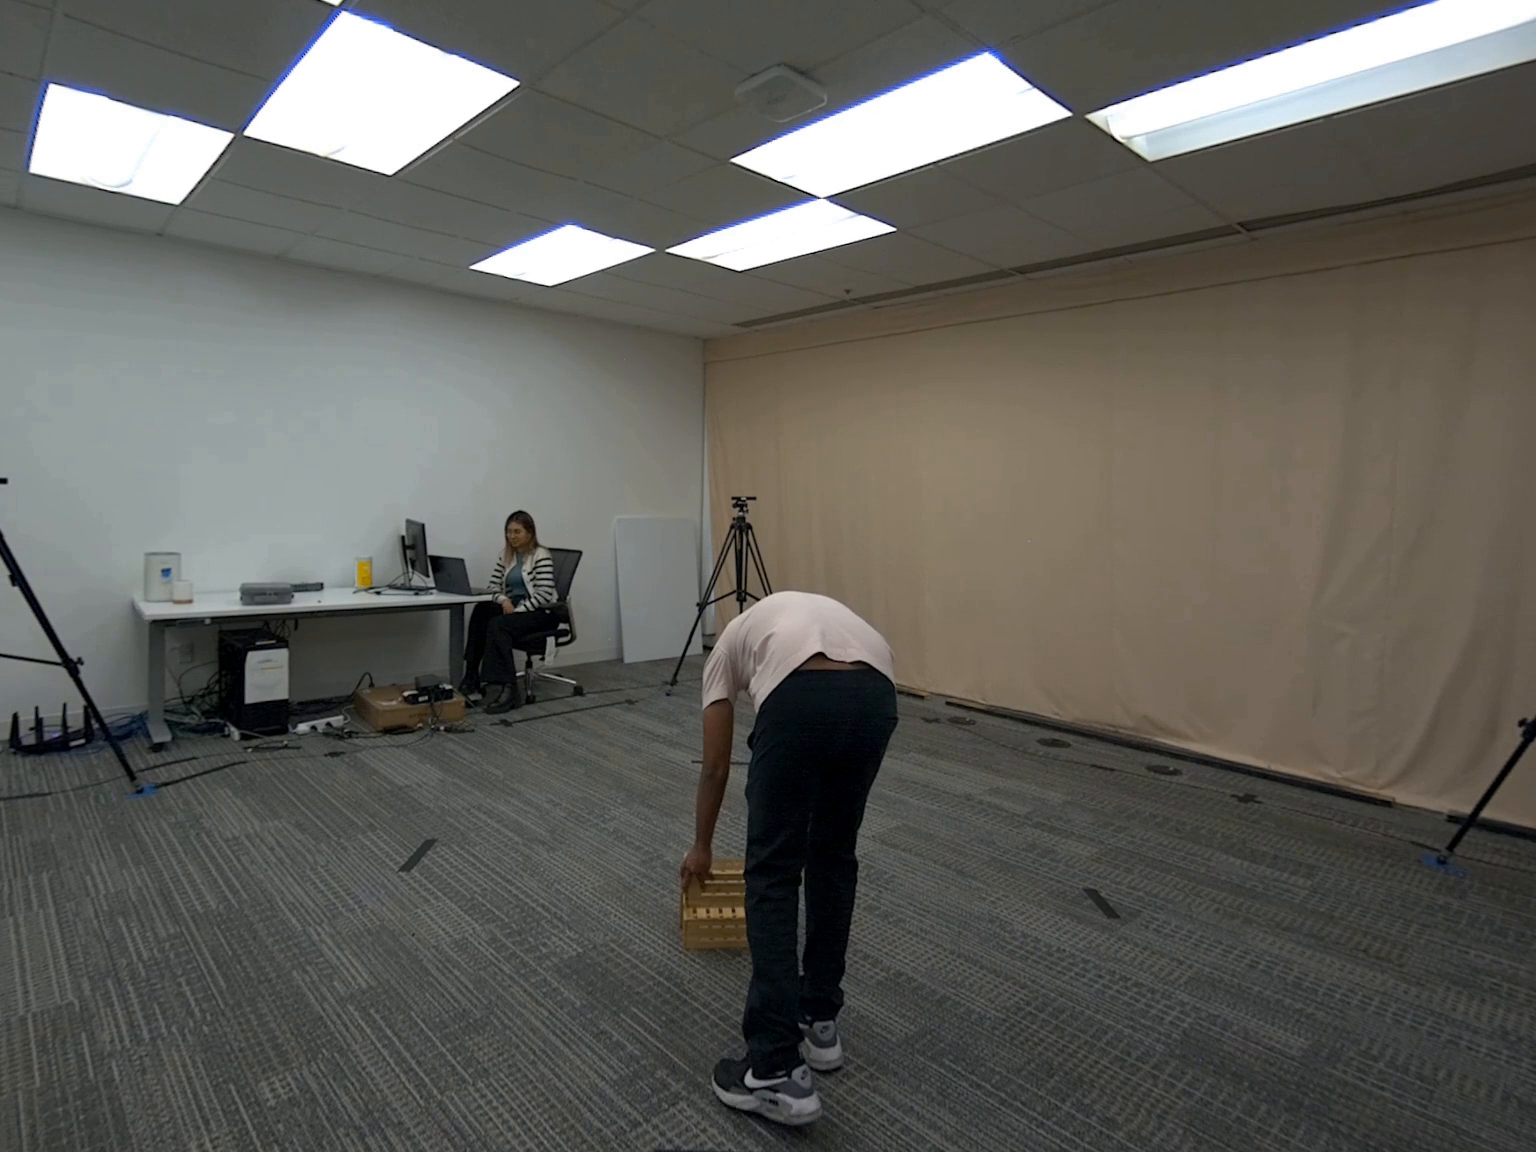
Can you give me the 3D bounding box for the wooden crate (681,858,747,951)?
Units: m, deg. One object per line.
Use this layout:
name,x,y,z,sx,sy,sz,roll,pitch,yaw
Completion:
wooden crate,-0.126,1.013,2.695,0.323,0.272,0.304,1,5,-6
